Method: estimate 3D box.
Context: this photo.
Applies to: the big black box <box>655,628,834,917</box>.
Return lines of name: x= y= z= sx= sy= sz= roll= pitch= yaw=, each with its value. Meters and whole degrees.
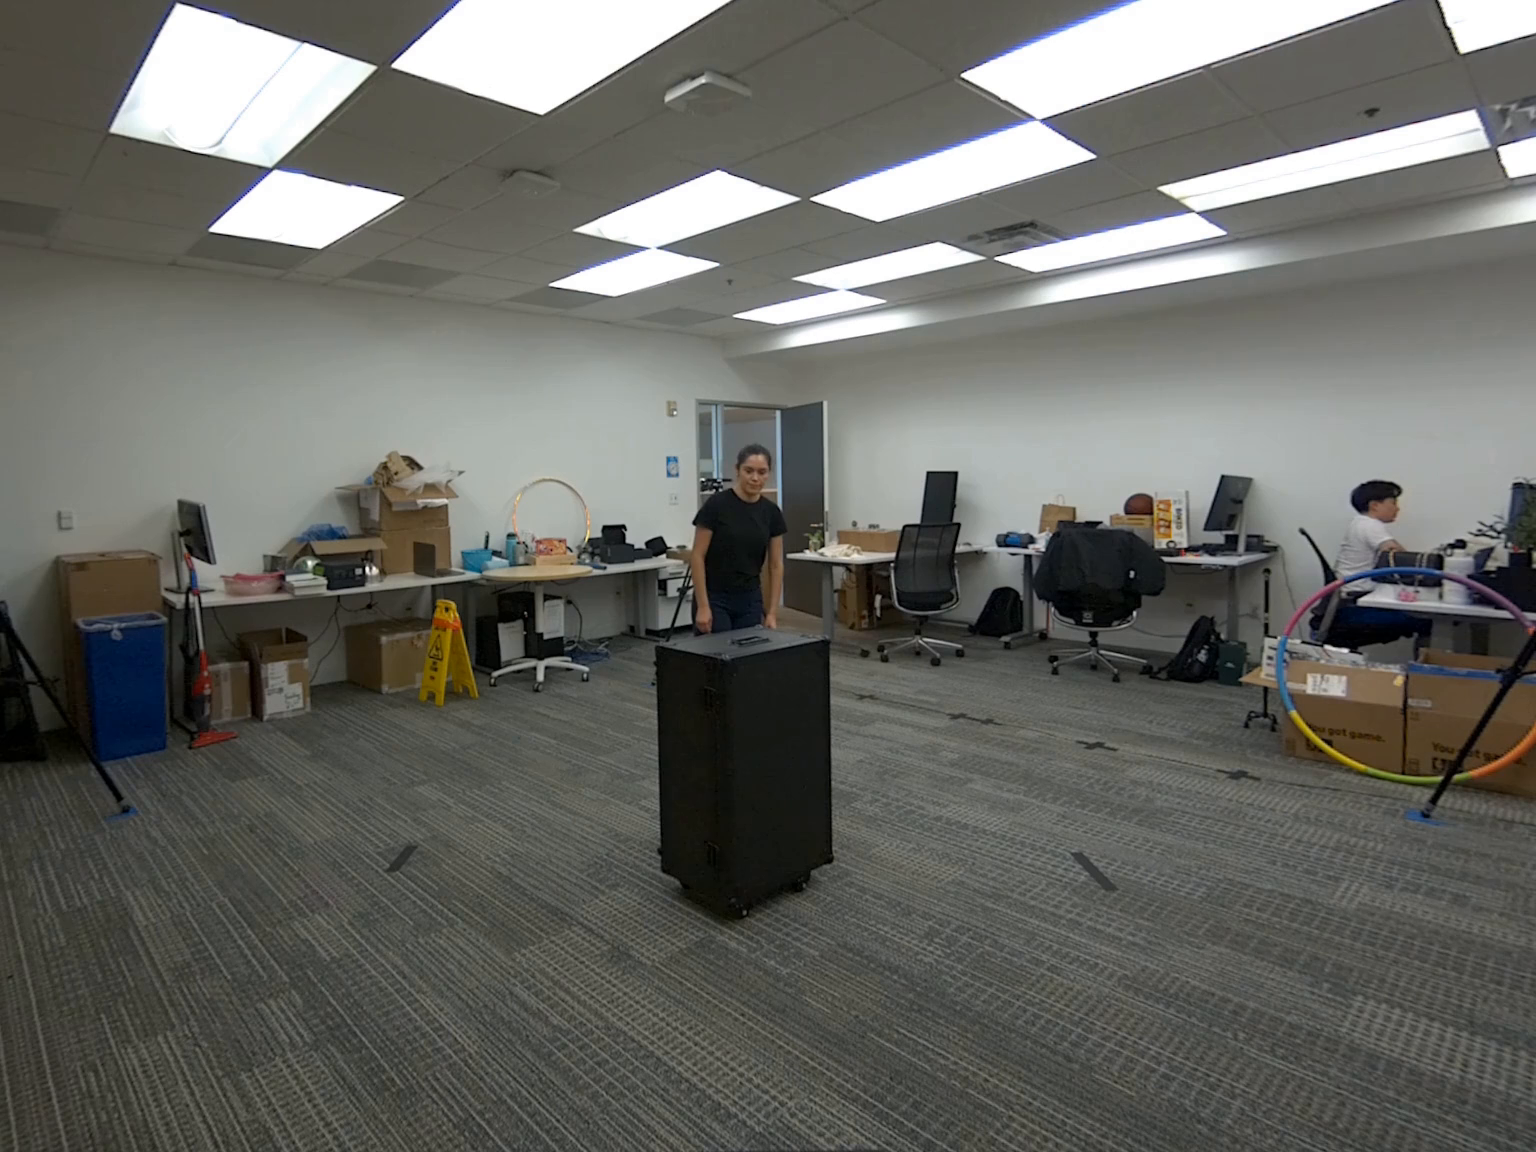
big black box: x=-0.090 y=0.646 z=2.921 sx=0.507 sy=0.859 sz=0.408 roll=-4 pitch=5 yaw=-43
